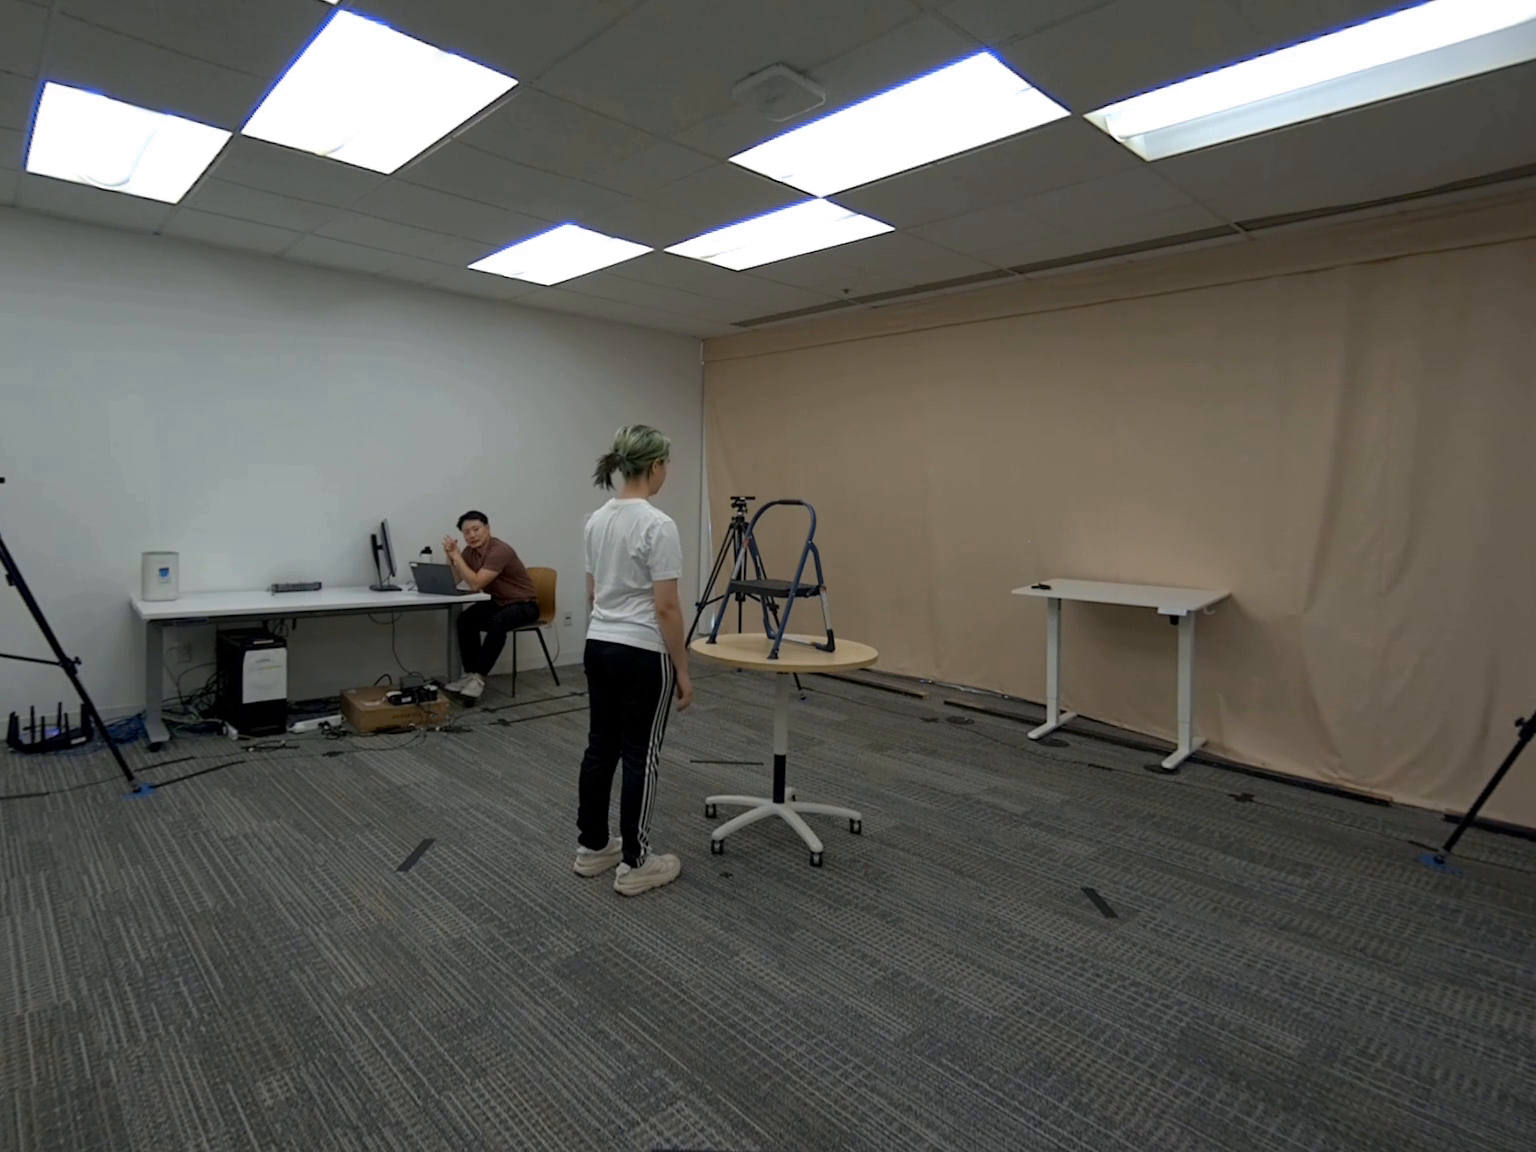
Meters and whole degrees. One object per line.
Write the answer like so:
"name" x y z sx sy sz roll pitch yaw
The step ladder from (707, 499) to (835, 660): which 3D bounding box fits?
"step ladder" 0.014 -0.007 3.427 0.341 0.605 0.441 -1 4 -39
